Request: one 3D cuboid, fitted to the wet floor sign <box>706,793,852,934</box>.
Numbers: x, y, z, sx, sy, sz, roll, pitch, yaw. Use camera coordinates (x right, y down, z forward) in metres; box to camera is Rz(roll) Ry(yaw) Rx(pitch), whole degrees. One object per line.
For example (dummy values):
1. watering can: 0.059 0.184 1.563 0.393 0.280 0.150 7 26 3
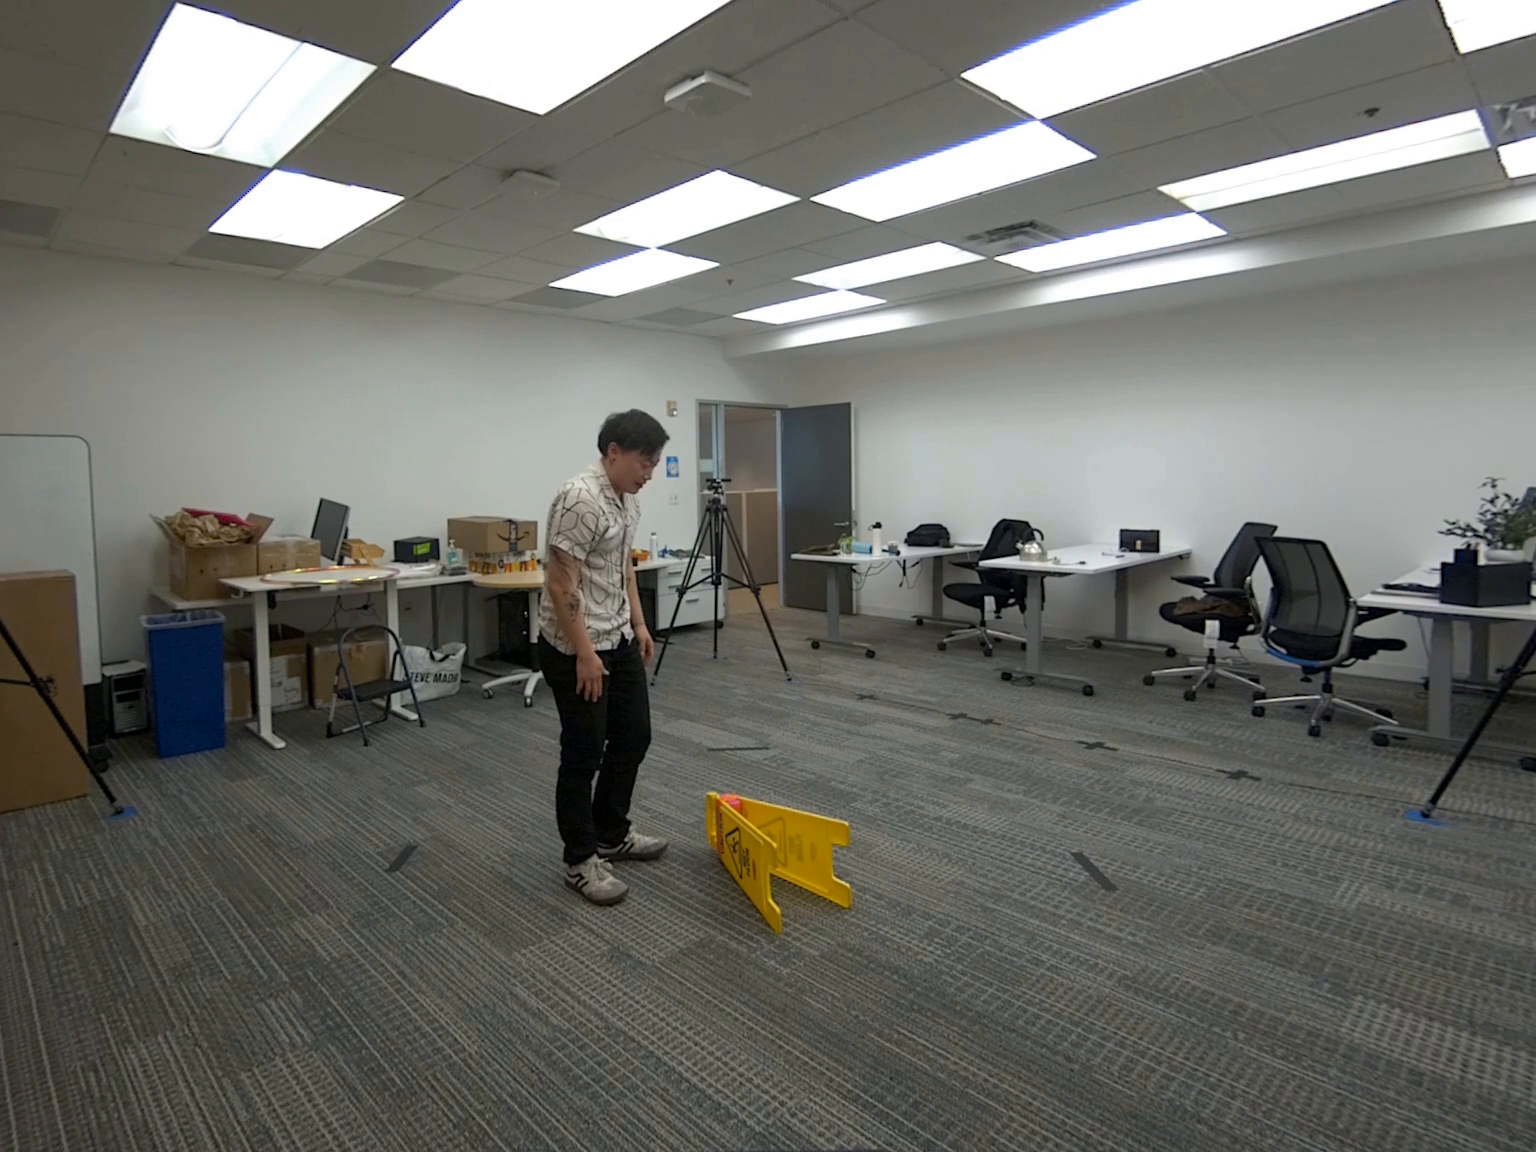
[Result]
1. wet floor sign: -0.037 0.931 2.955 0.283 0.281 0.664 -5 5 -34
